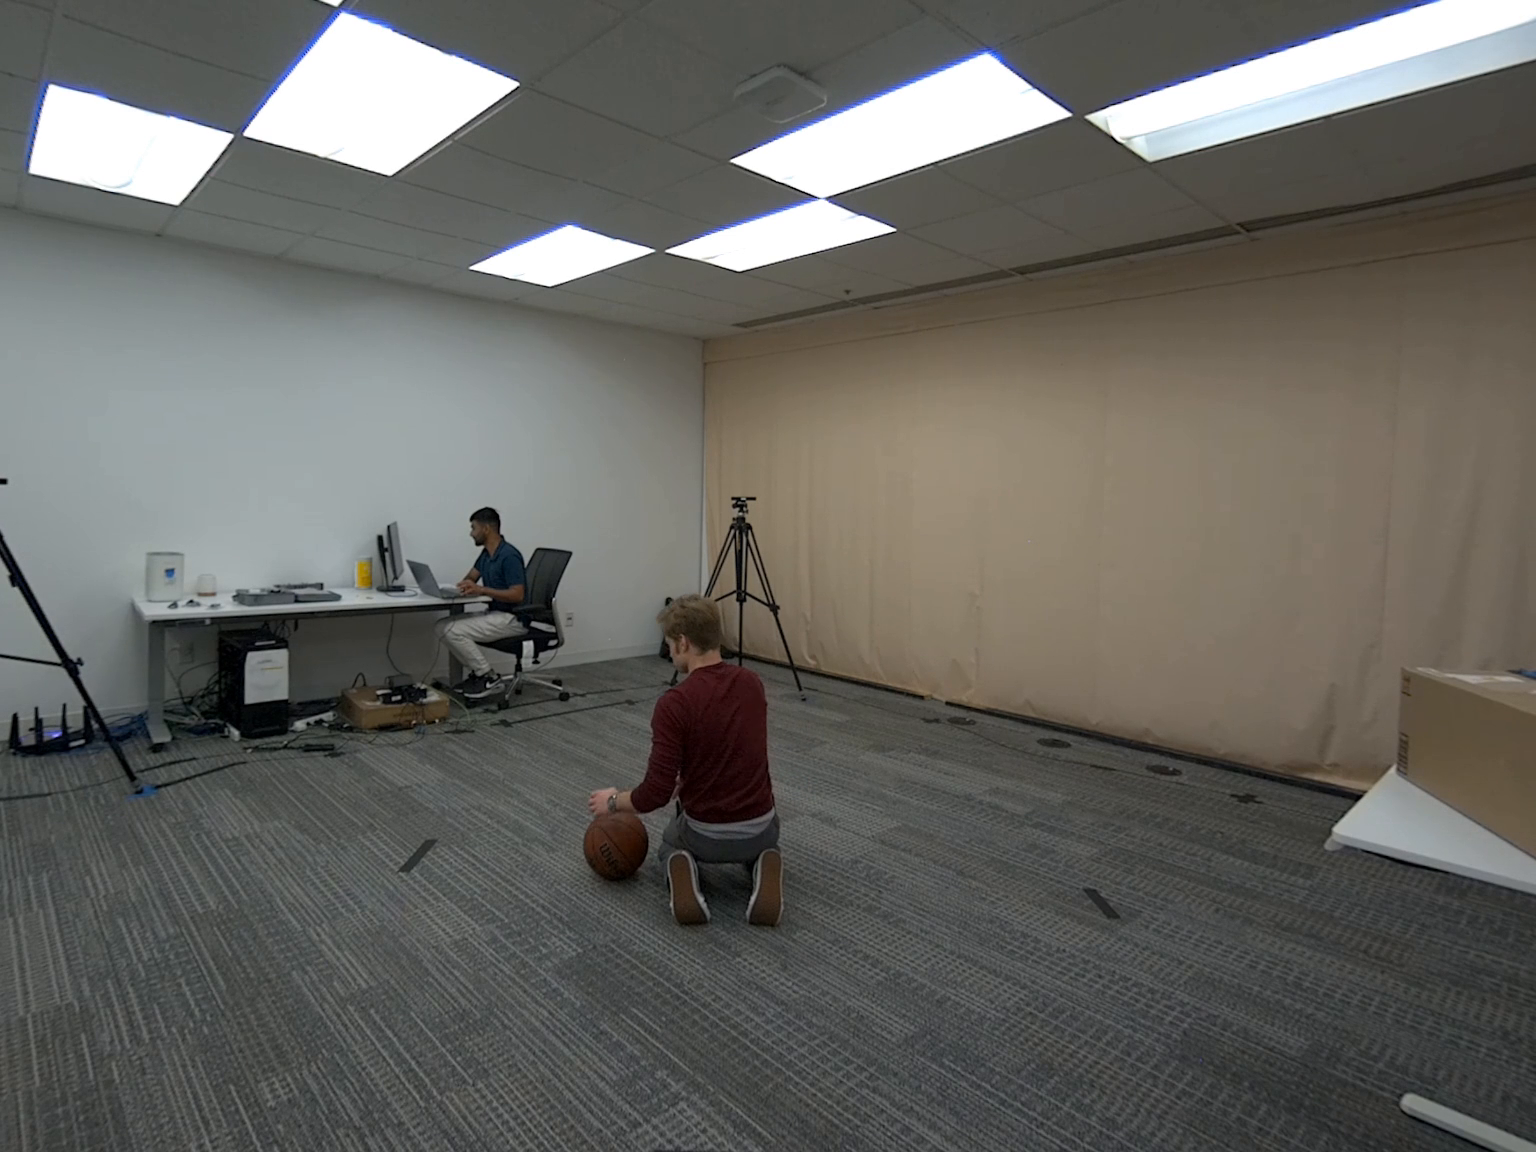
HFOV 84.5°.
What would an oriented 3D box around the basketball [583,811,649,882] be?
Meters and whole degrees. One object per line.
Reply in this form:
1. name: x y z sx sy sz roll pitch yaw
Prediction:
1. basketball: -0.559 0.974 3.085 0.236 0.235 0.237 1 4 -1
